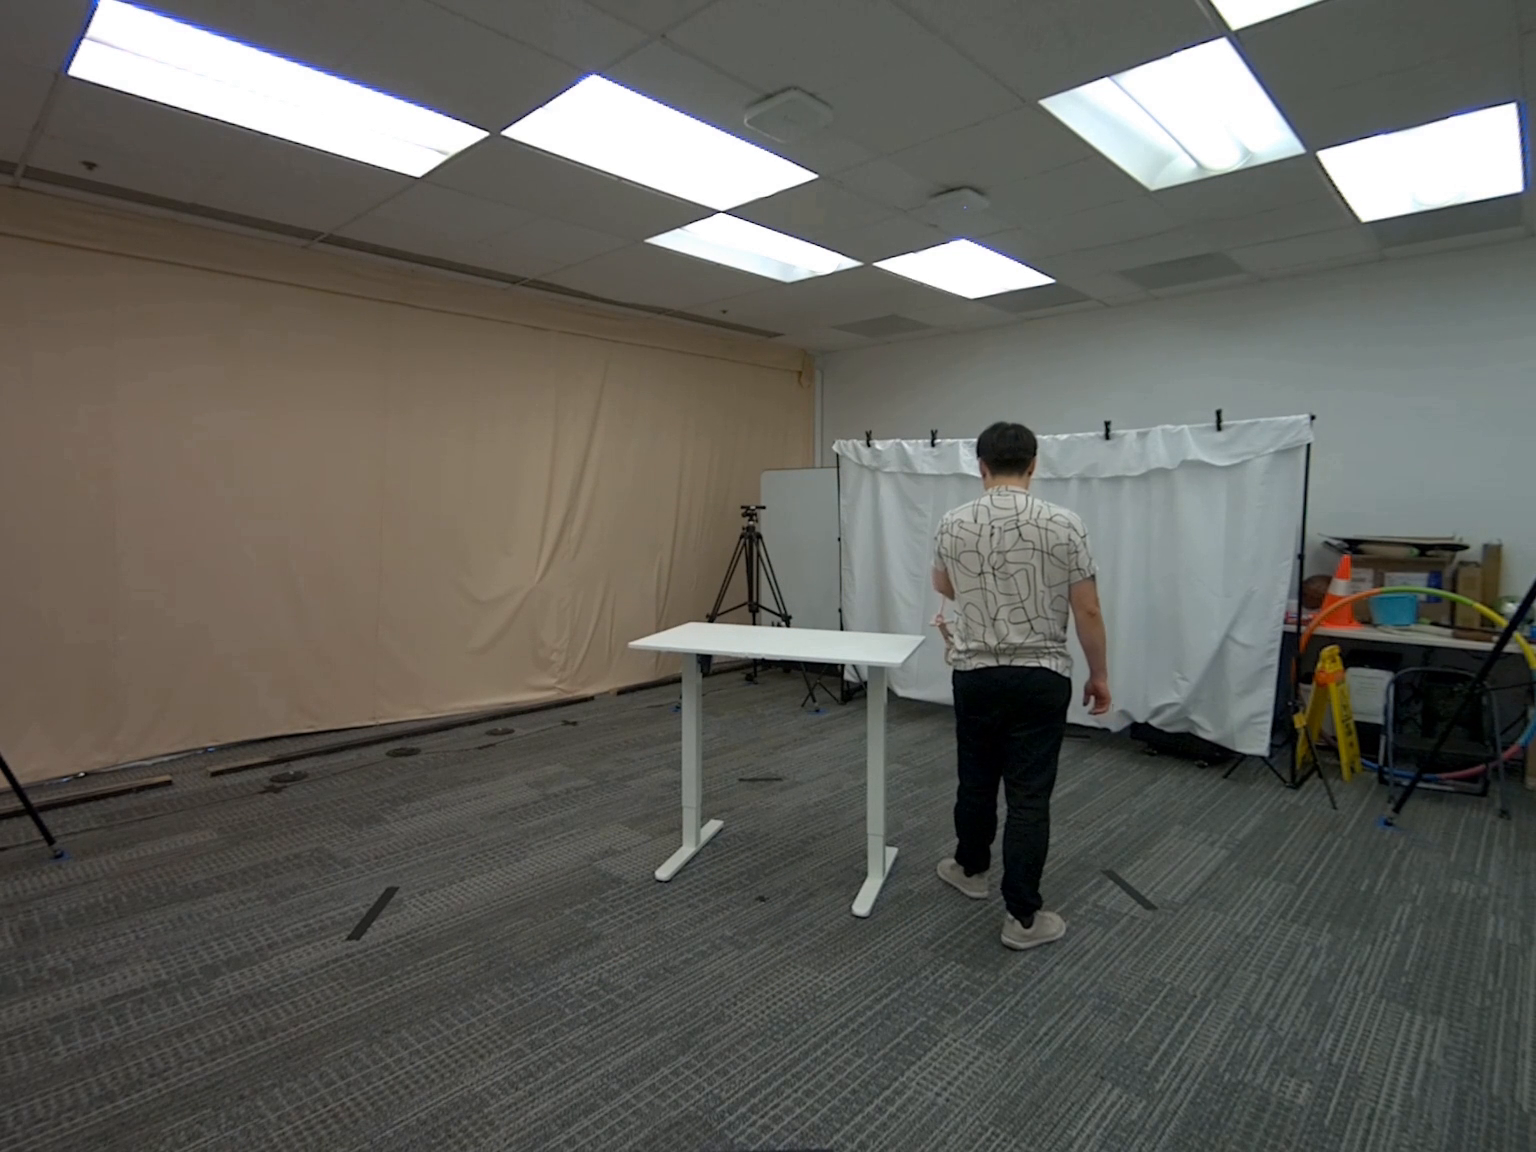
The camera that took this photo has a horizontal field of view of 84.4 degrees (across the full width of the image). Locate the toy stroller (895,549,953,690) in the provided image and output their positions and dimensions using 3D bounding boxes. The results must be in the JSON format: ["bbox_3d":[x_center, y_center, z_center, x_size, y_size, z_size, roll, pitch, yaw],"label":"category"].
[{"bbox_3d":[0.804,0.135,3.373,0.334,0.536,0.287,-17,-1,-28],"label":"toy stroller"}]
